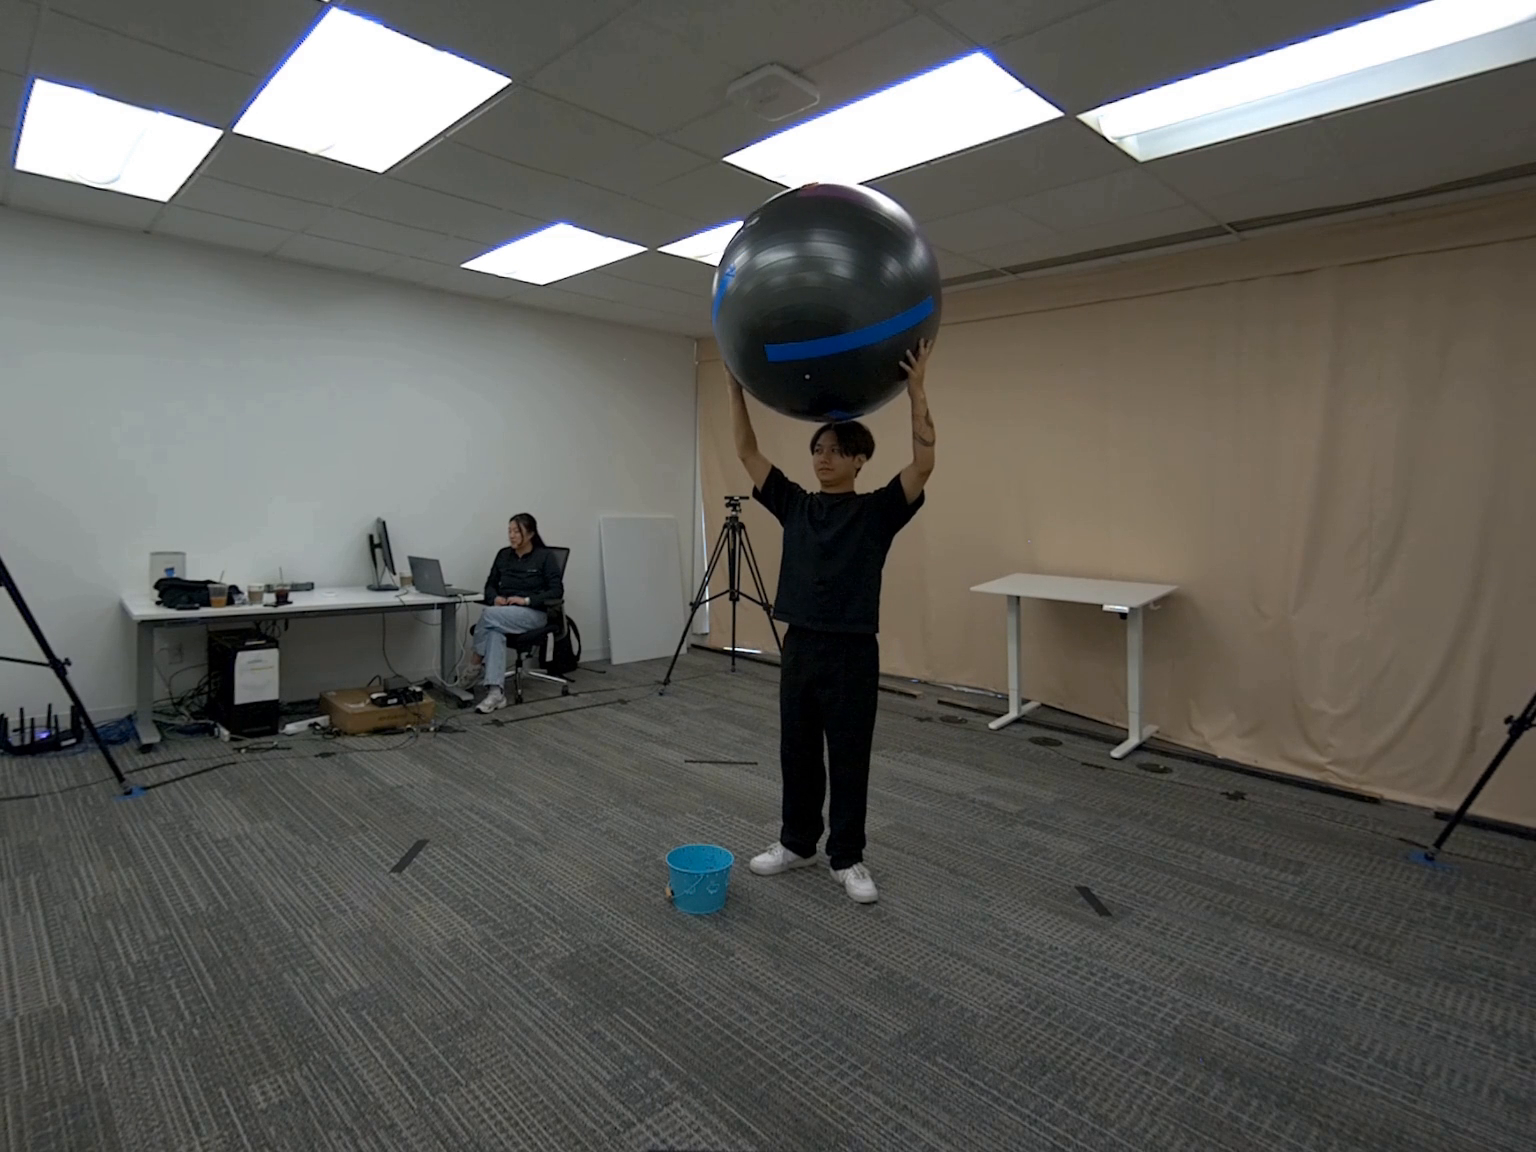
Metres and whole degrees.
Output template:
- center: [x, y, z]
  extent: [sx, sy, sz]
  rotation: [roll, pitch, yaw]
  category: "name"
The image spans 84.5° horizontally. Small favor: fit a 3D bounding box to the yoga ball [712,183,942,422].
- center: [0.187, -0.886, 2.784]
  extent: [0.757, 0.756, 0.761]
  rotation: [1, 4, -1]
  category: "yoga ball"
